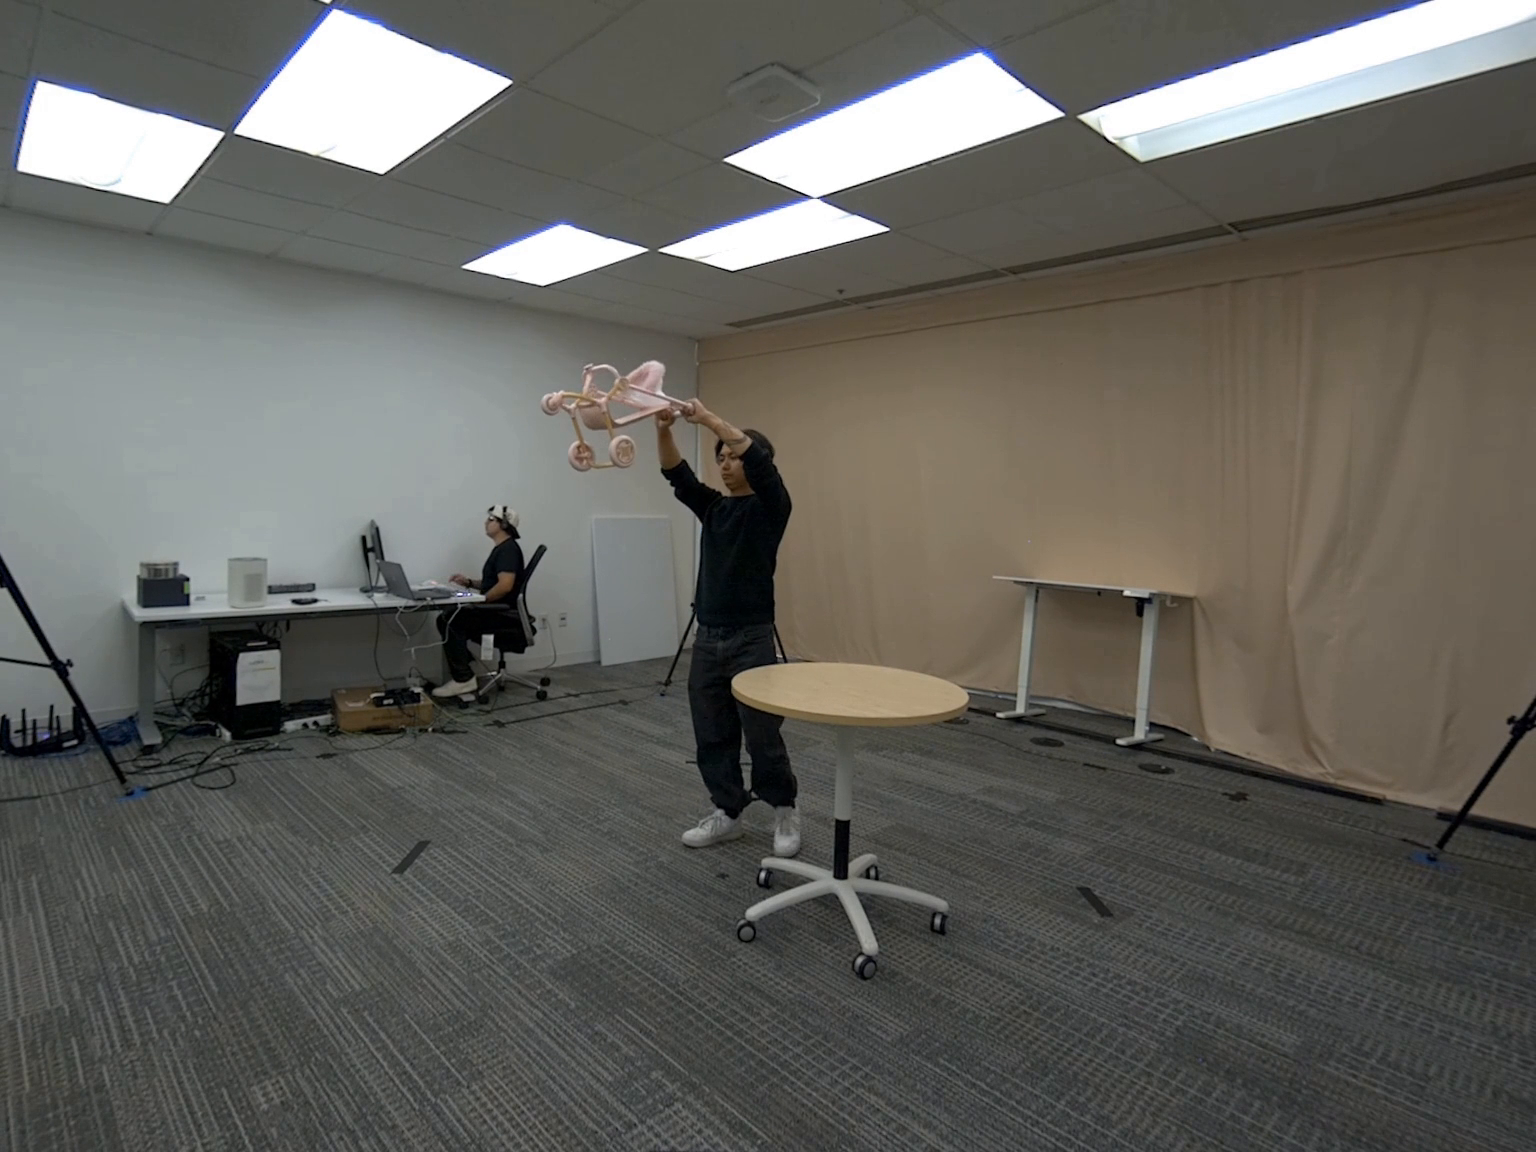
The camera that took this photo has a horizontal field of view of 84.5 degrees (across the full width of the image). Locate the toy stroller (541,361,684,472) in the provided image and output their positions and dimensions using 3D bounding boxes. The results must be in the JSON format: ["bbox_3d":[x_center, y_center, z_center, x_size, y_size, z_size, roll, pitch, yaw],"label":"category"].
[{"bbox_3d":[-0.542,-0.596,2.965,0.288,0.334,0.534,-3,34,49],"label":"toy stroller"}]
